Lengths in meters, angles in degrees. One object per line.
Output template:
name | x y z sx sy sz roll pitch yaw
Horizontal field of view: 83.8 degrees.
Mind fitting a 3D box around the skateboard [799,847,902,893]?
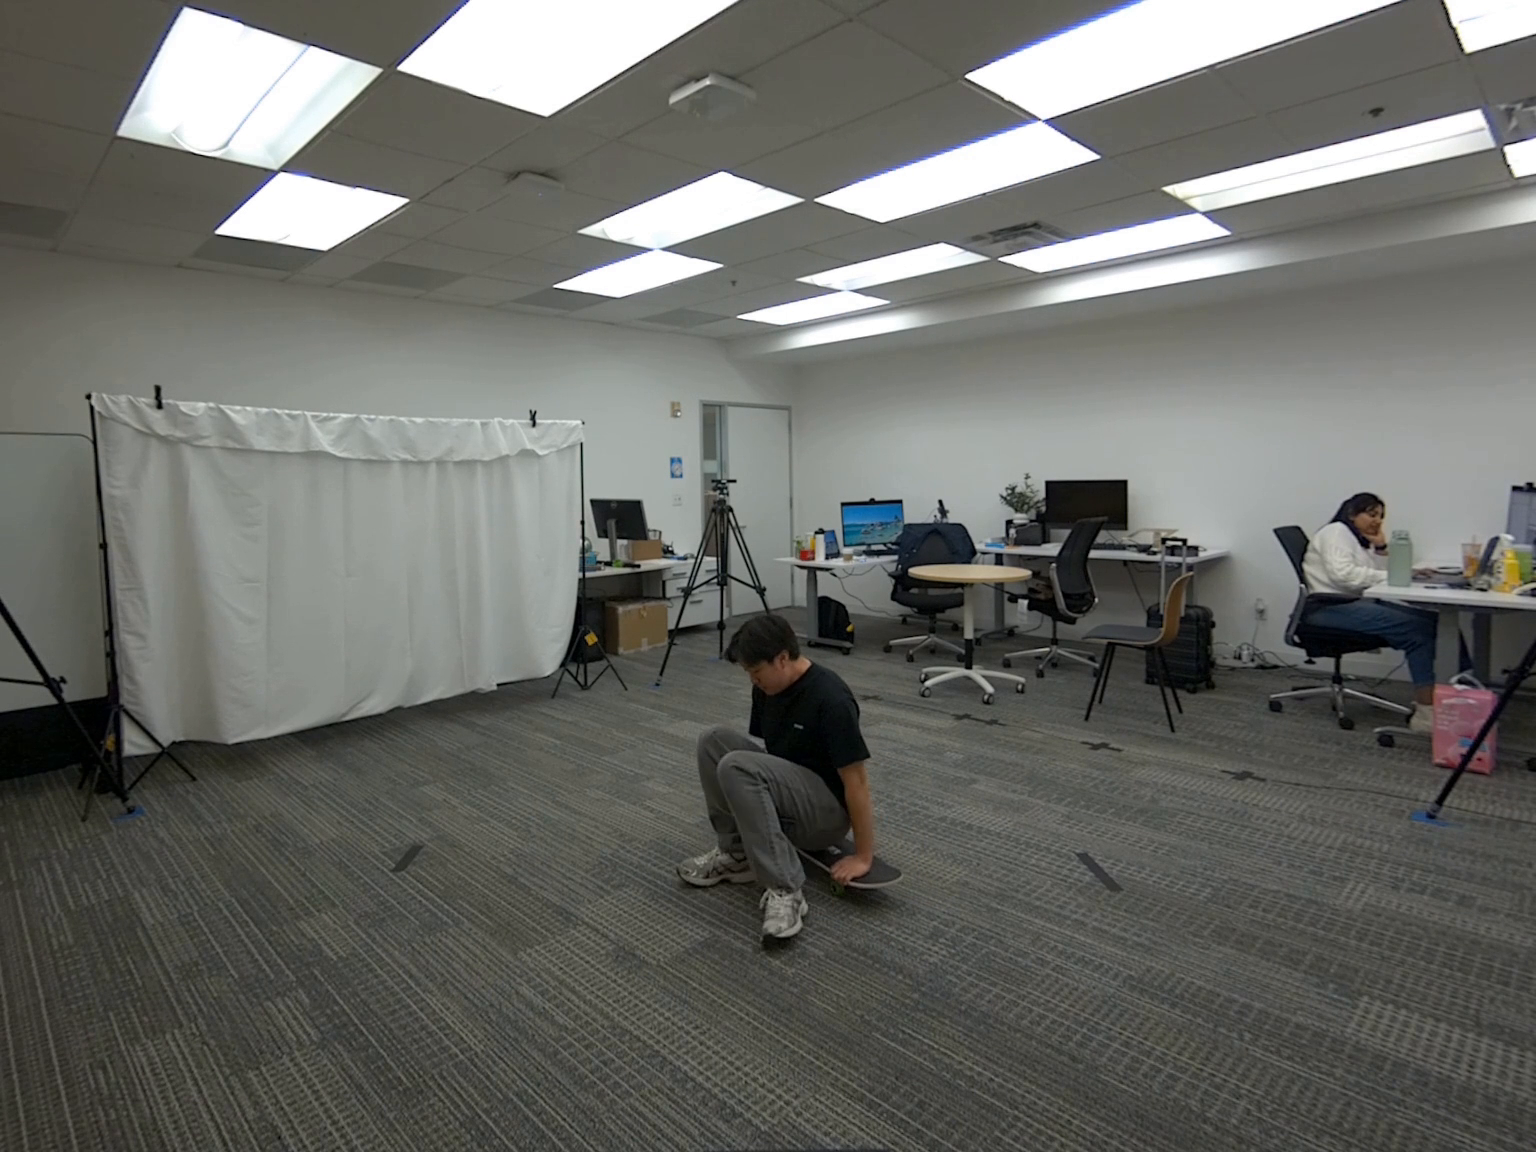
skateboard | 0.193 0.989 3.068 0.189 0.110 0.807 -5 7 -29
